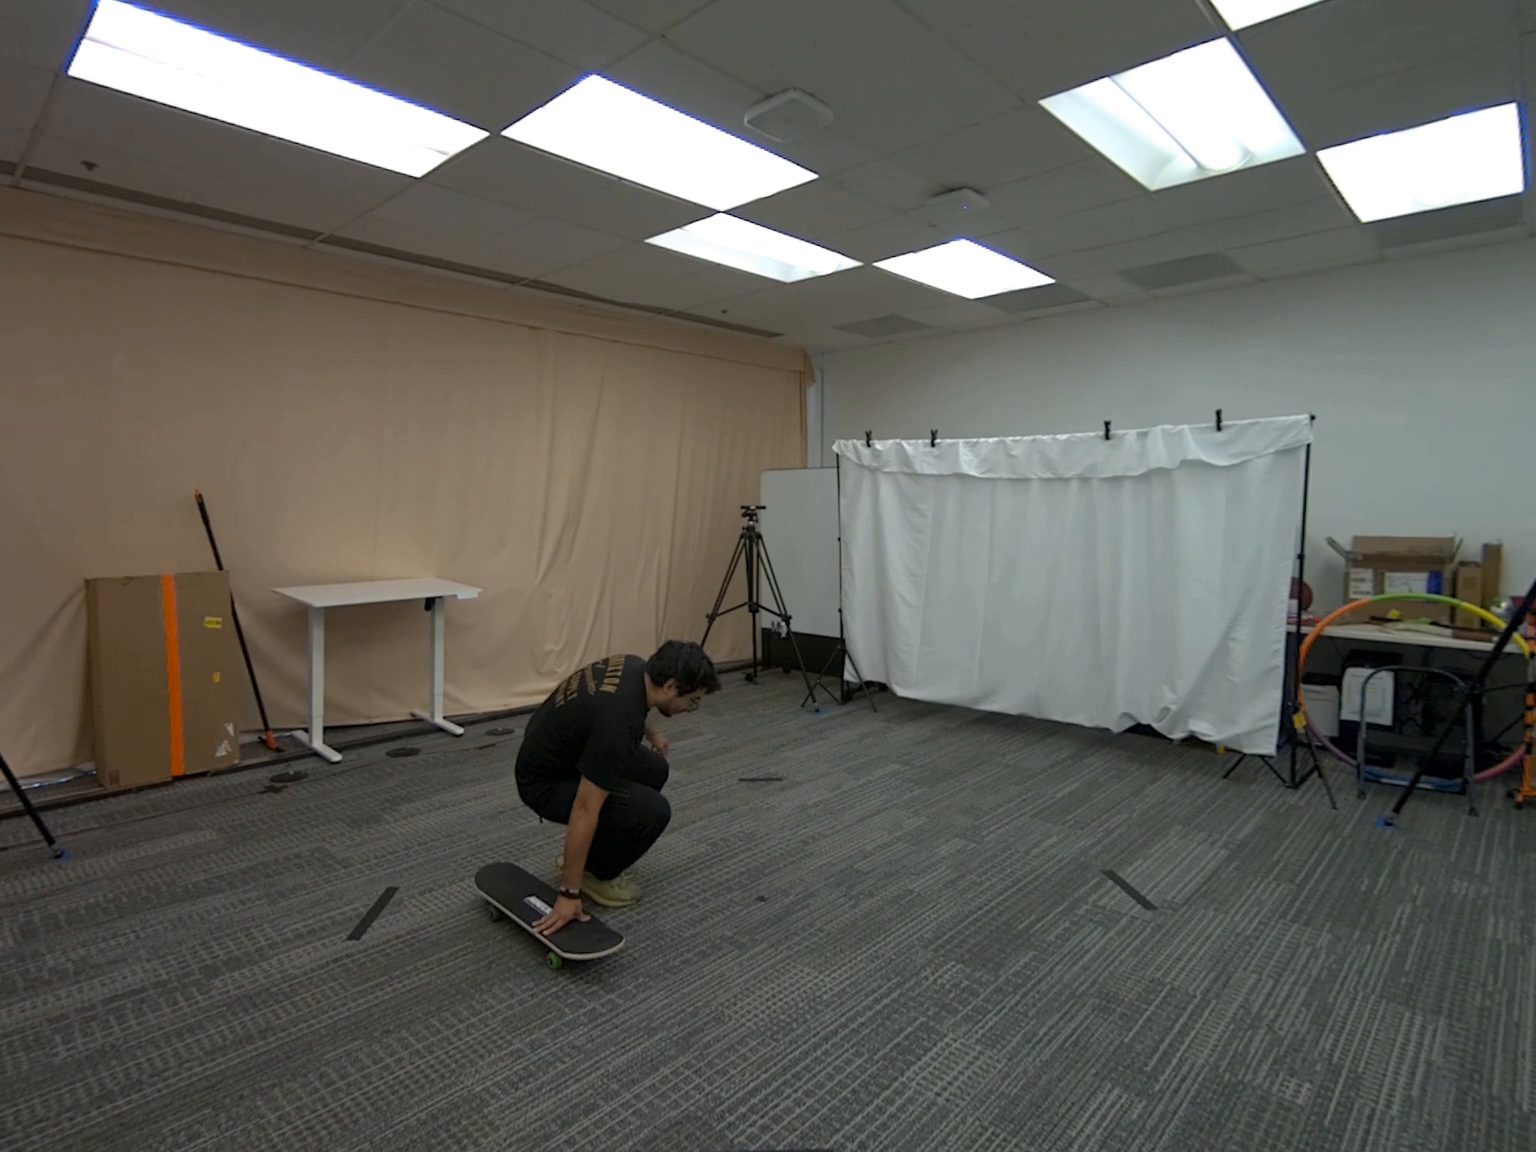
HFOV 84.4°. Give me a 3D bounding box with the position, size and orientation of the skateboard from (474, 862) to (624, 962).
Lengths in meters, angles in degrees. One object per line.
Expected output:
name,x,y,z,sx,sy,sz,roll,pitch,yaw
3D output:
skateboard,-0.728,1.113,2.742,0.188,0.110,0.812,-6,7,-43
